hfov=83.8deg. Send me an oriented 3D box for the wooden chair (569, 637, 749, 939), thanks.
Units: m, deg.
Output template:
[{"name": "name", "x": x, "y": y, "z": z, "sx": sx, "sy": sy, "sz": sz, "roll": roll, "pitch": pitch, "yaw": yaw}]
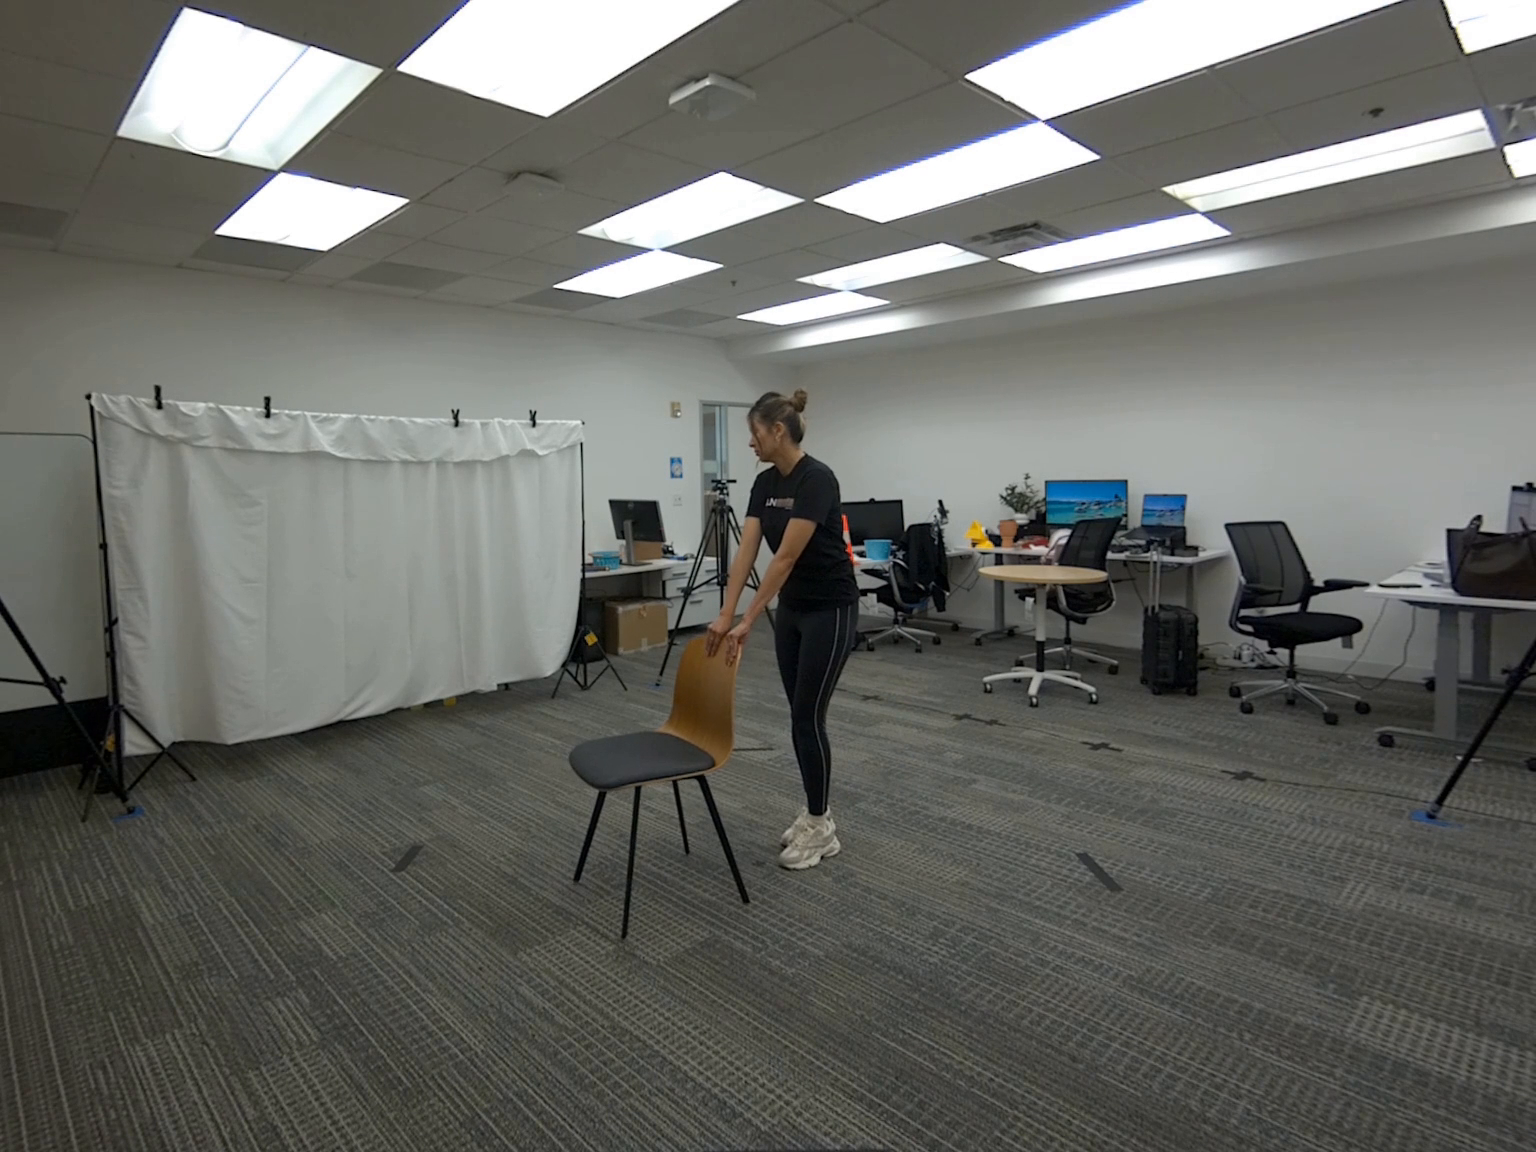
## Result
[{"name": "wooden chair", "x": -0.375, "y": 0.651, "z": 2.872, "sx": 0.509, "sy": 0.876, "sz": 0.491, "roll": 2, "pitch": 2, "yaw": -31}]
